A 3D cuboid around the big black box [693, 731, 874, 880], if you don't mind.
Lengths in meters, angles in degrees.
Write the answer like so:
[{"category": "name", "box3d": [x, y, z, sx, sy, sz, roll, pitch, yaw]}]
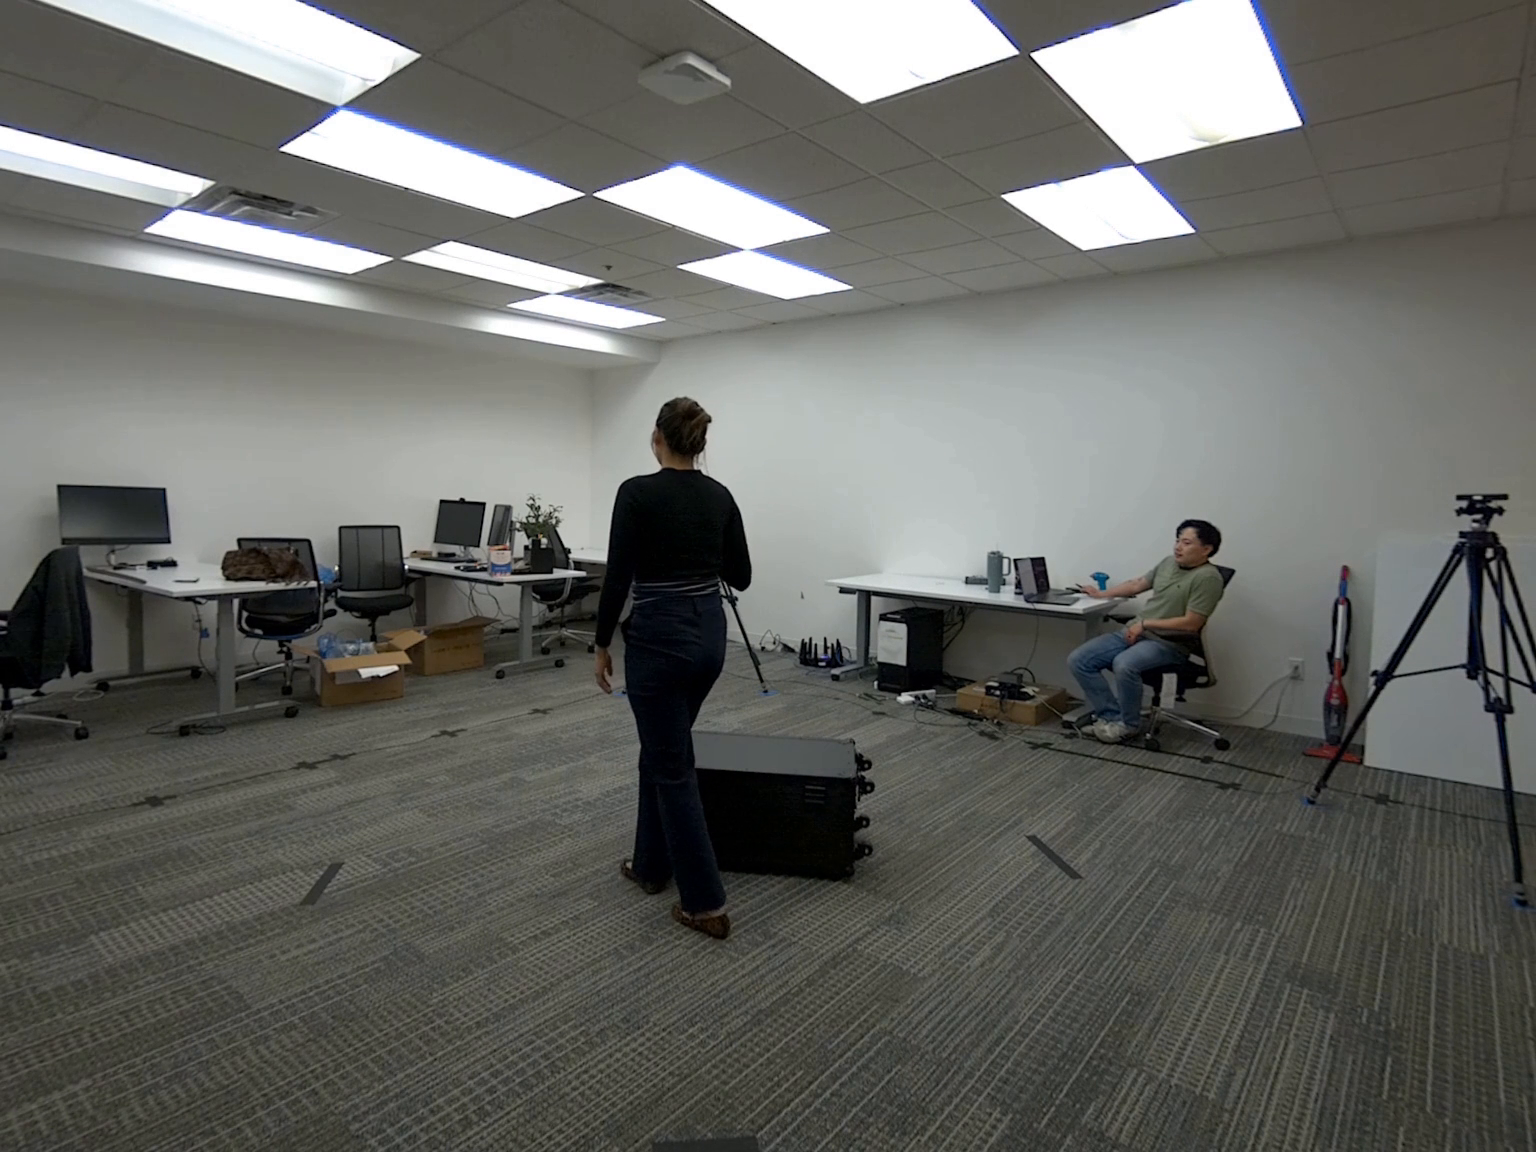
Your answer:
[{"category": "big black box", "box3d": [-0.035, 0.854, 3.281, 0.869, 0.395, 0.519, 1, 5, 7]}]
